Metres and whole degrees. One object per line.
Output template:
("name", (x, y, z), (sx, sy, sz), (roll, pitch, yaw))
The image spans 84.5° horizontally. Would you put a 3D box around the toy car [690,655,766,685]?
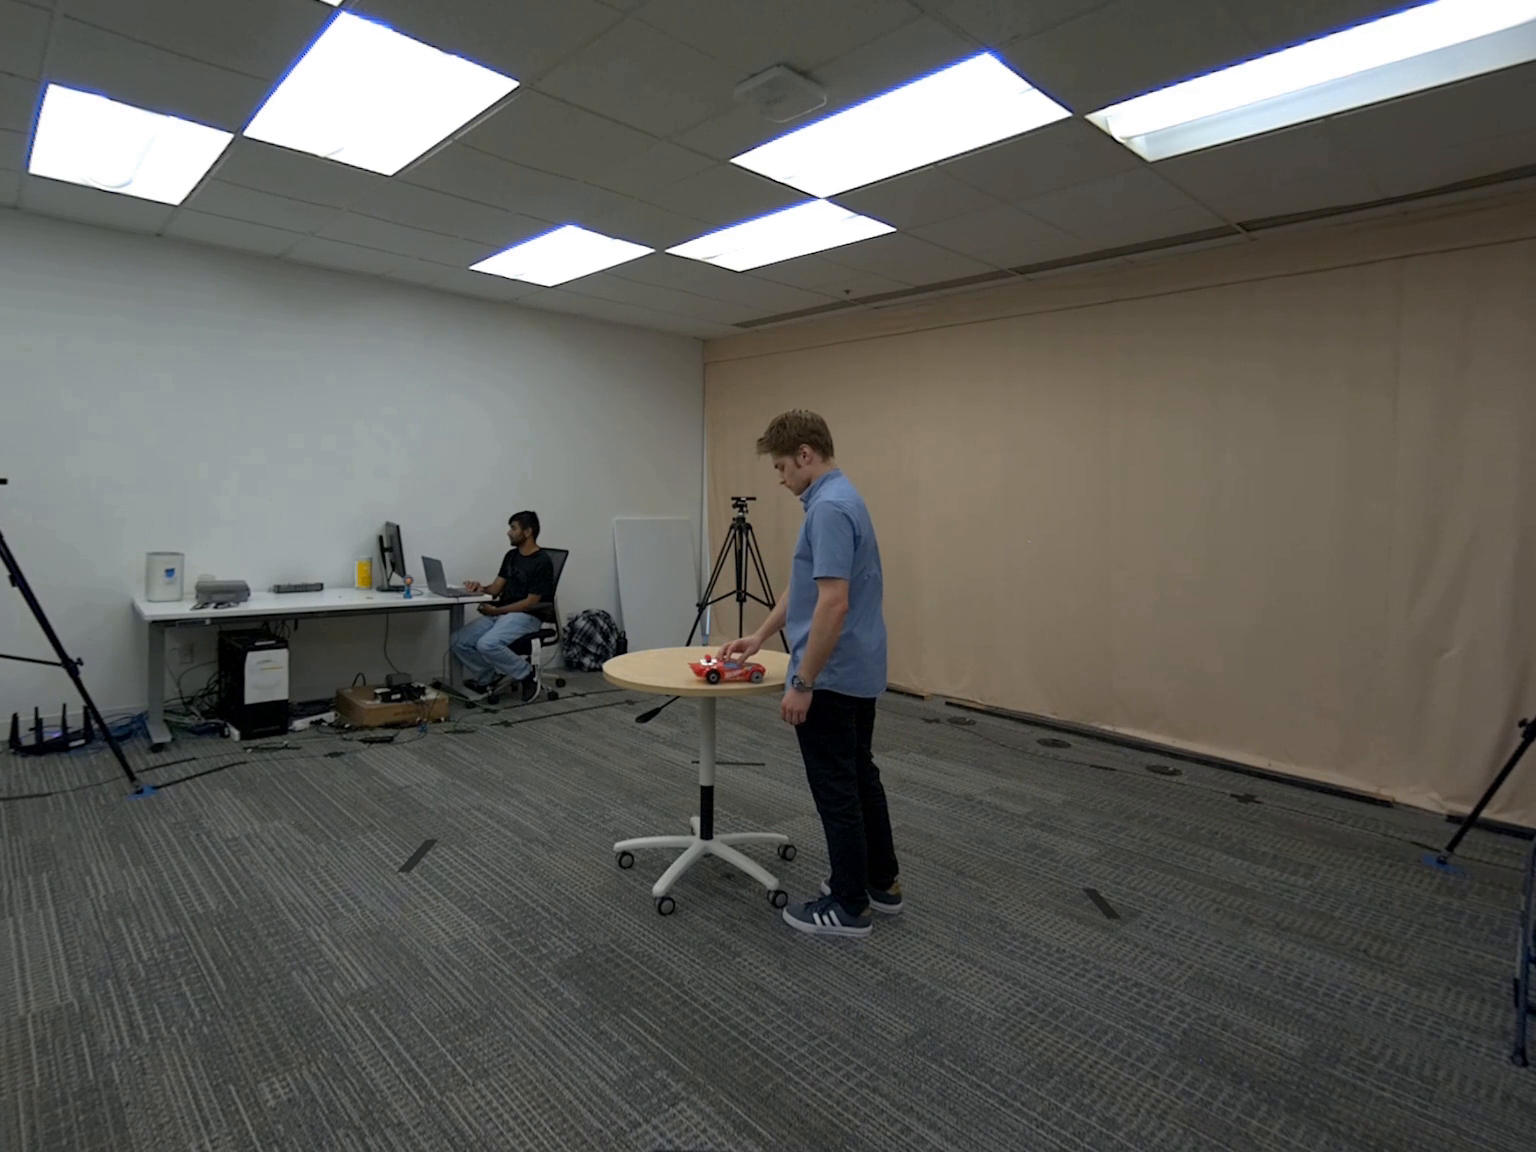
("toy car", (-0.143, 0.317, 2.805), (0.252, 0.083, 0.132), (11, 3, -10))
